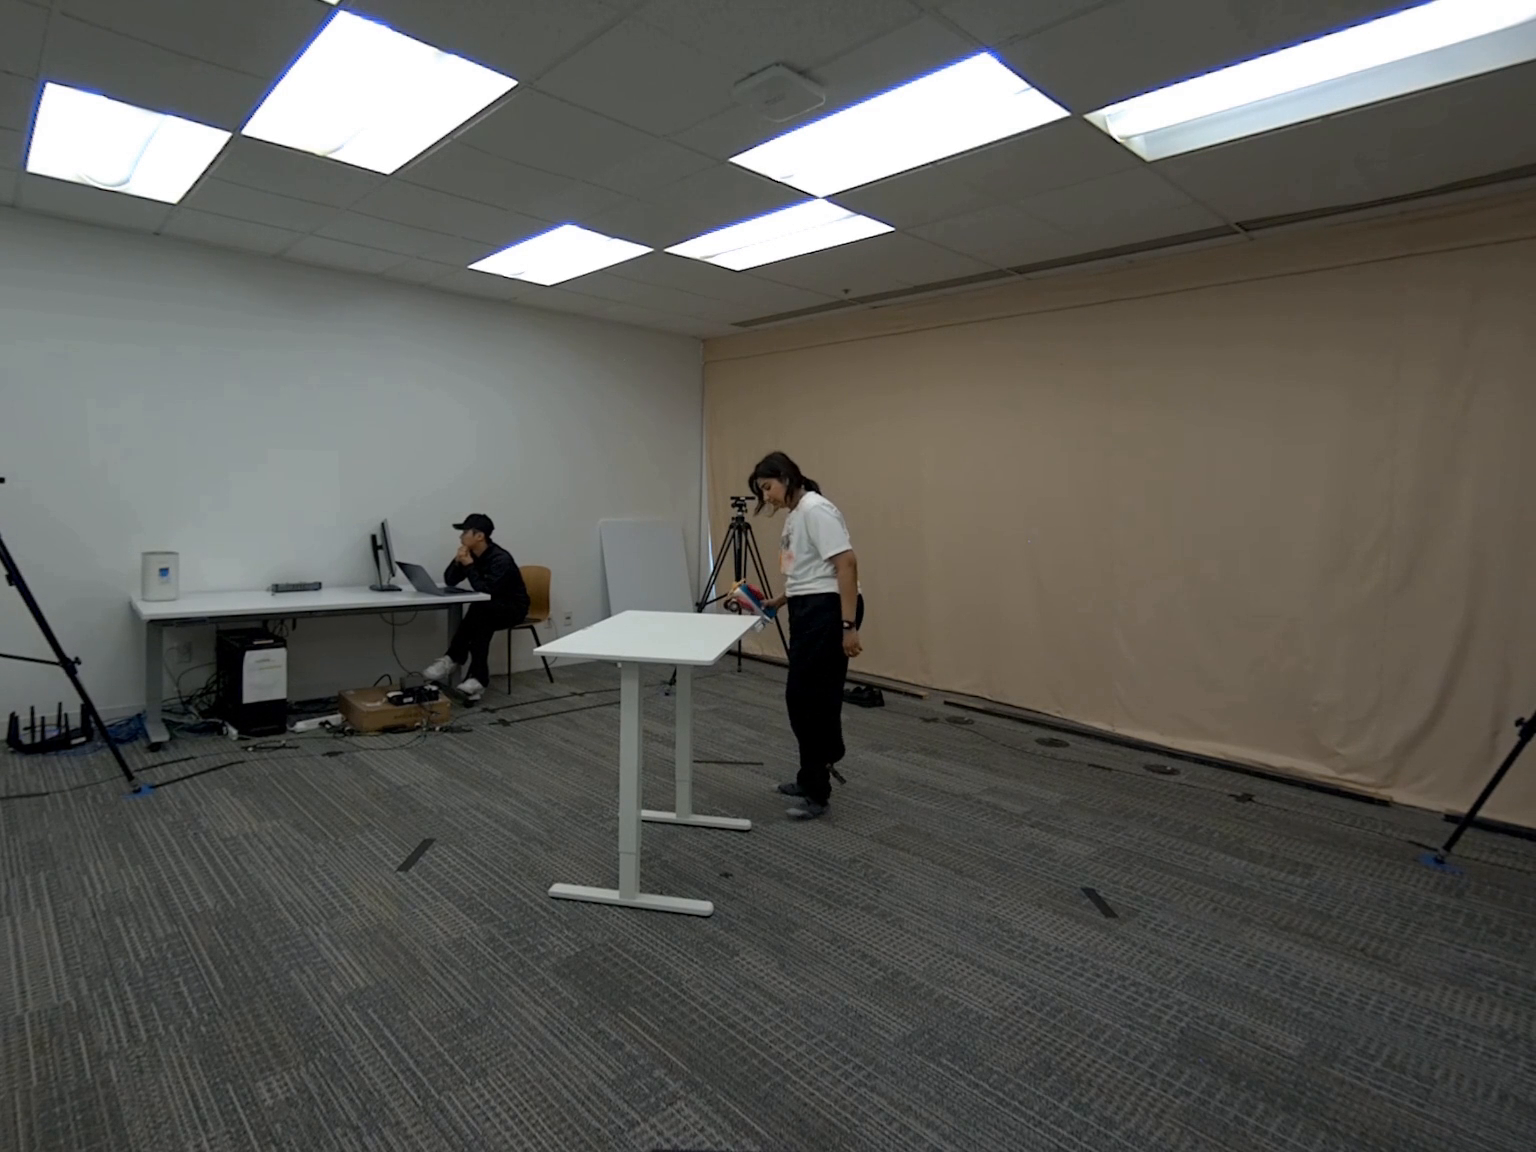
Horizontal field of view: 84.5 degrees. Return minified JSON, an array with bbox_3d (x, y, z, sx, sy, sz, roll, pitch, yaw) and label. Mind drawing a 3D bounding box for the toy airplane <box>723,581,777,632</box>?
[{"bbox_3d":[-0.094,0.134,4.050,0.259,0.157,0.251,23,-10,45],"label":"toy airplane"}]
